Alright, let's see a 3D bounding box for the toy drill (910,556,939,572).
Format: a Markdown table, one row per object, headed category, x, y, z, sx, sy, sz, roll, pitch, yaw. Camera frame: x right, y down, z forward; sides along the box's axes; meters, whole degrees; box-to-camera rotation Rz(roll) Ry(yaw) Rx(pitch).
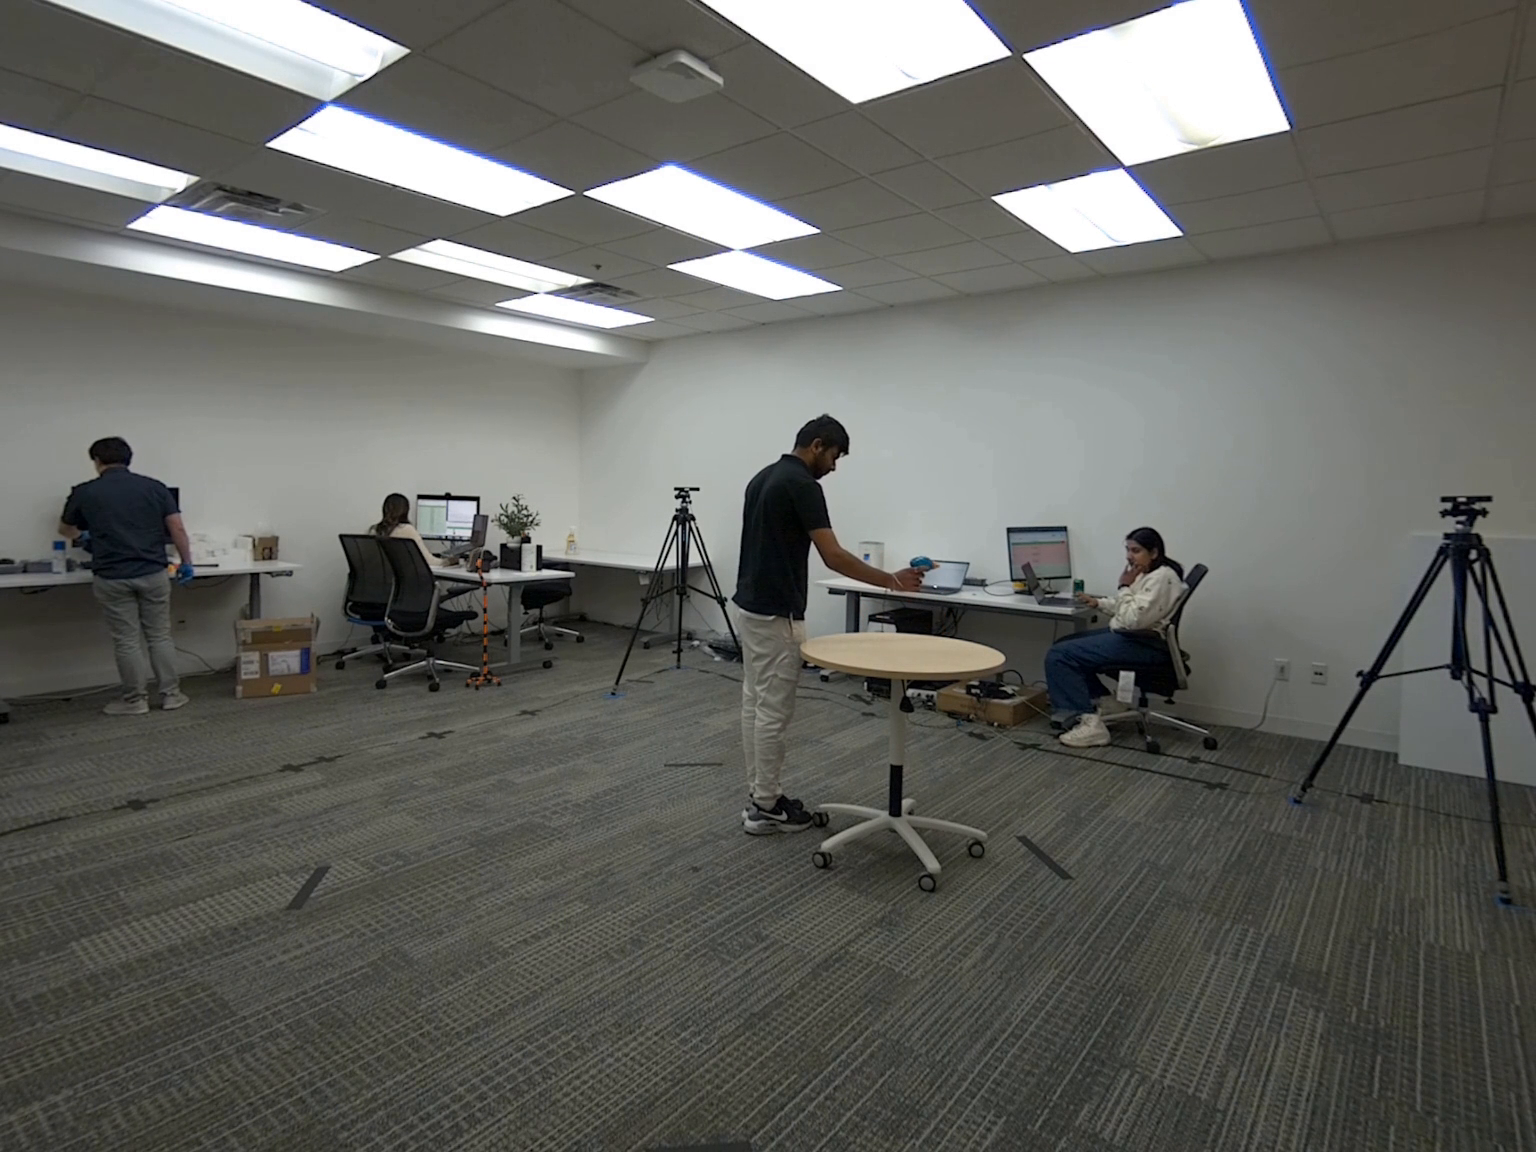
| category | x | y | z | sx | sy | sz | roll | pitch | yaw |
| --- | --- | --- | --- | --- | --- | --- | --- | --- | --- |
| toy drill | 0.616 | -0.009 | 3.406 | 0.165 | 0.144 | 0.063 | 12 | 22 | -24 |
